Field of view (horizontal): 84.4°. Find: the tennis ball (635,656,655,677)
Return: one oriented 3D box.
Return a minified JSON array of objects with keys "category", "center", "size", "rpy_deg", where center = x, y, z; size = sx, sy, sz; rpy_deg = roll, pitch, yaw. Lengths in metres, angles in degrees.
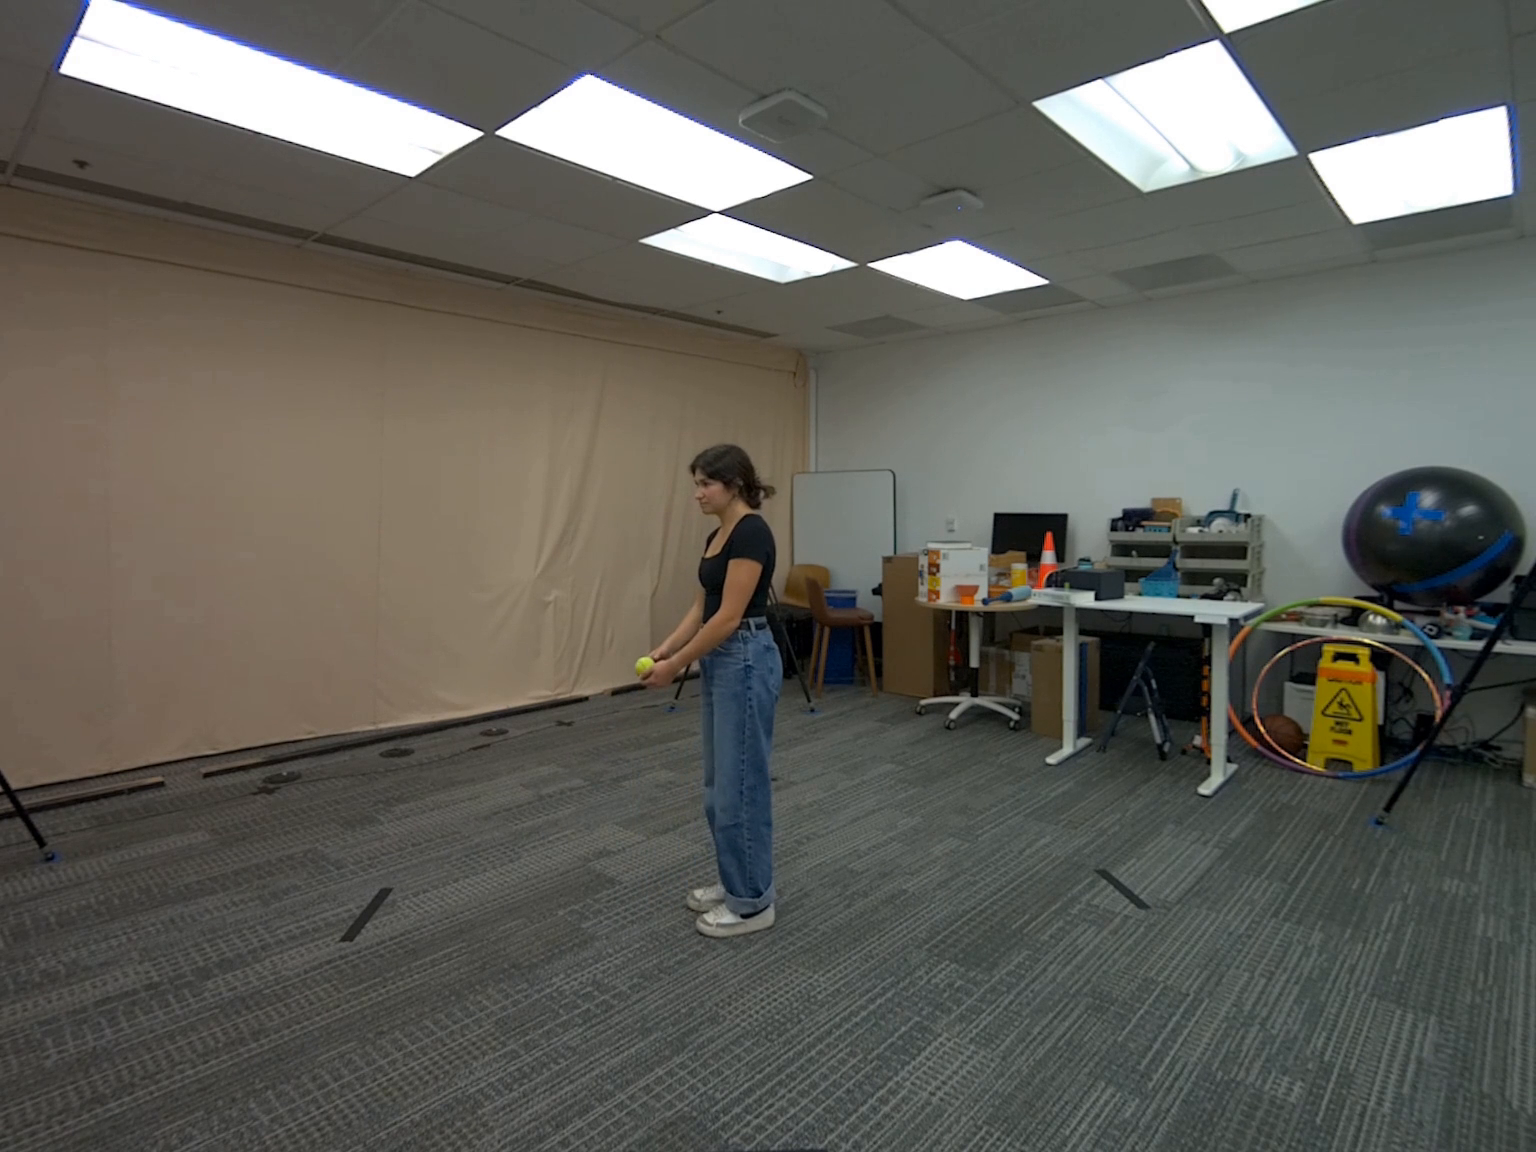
[{"category":"tennis ball","center":[-0.391,0.291,2.732],"size":[0.066,0.066,0.067],"rpy_deg":[0,4,-2]}]
